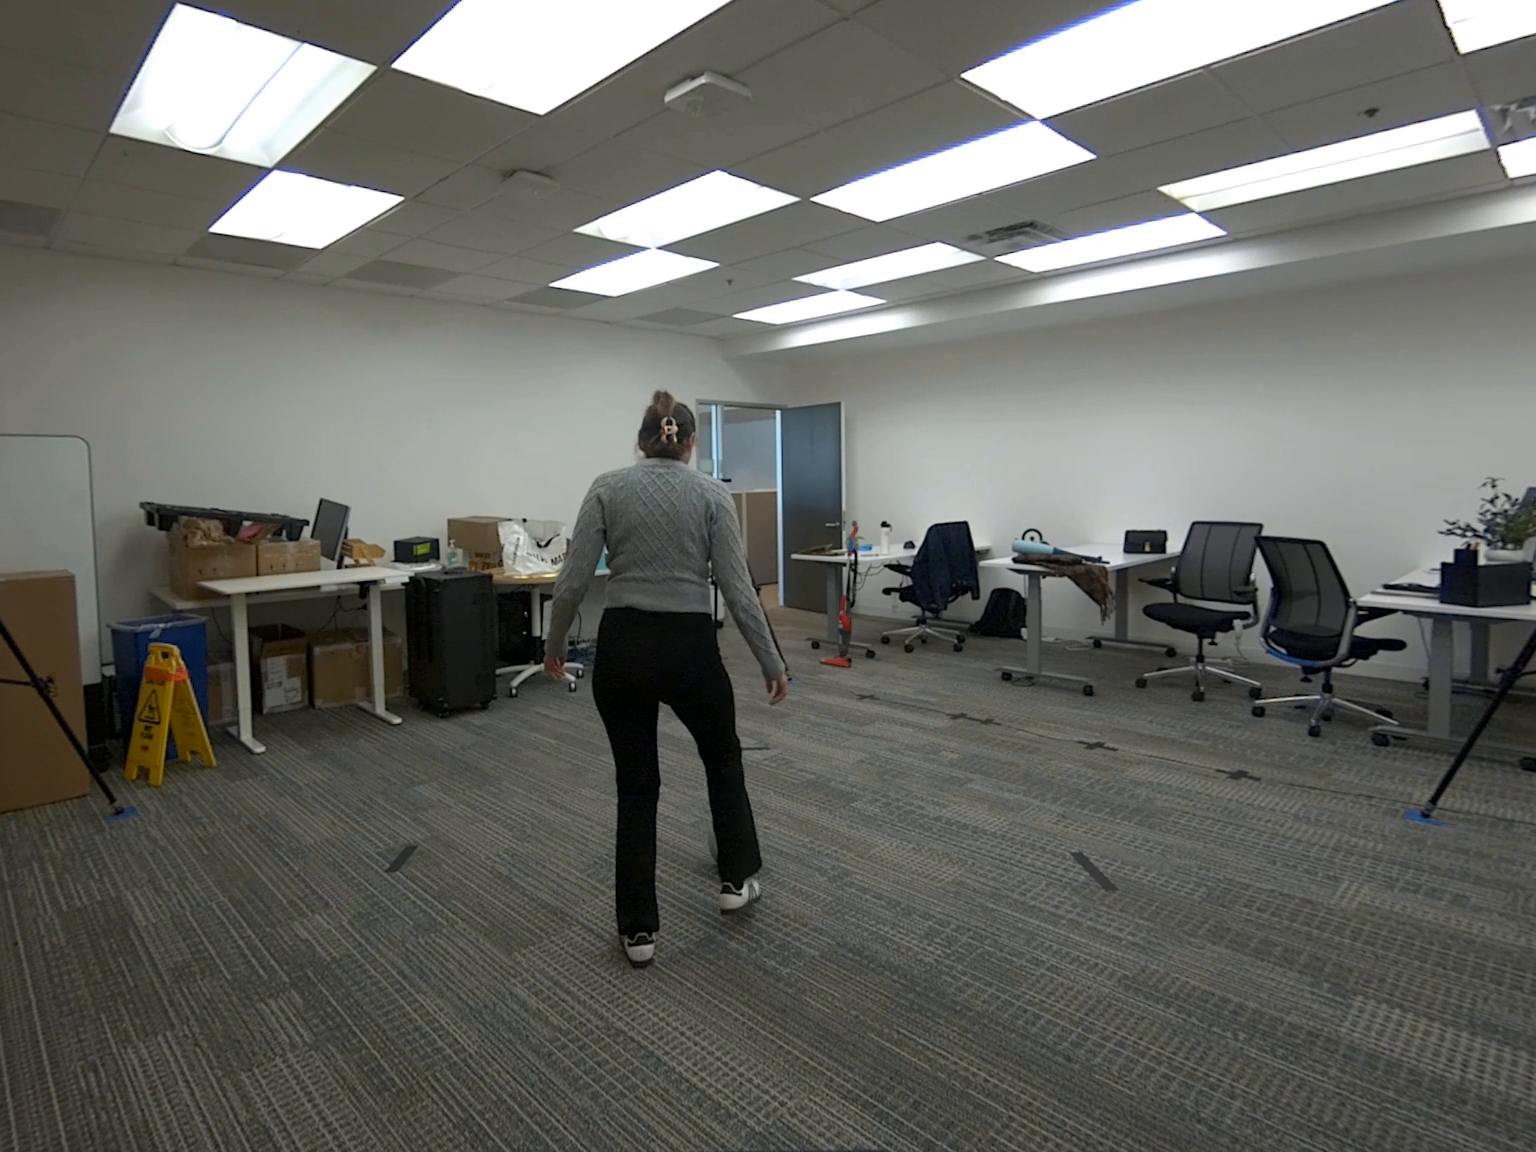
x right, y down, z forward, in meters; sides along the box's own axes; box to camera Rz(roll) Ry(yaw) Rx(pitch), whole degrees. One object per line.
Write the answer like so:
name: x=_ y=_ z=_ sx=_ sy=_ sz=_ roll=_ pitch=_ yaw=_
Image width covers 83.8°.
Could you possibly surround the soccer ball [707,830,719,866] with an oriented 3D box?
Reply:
soccer ball: x=-0.121 y=0.954 z=3.074 sx=0.187 sy=0.187 sz=0.188 roll=-1 pitch=5 yaw=-2
